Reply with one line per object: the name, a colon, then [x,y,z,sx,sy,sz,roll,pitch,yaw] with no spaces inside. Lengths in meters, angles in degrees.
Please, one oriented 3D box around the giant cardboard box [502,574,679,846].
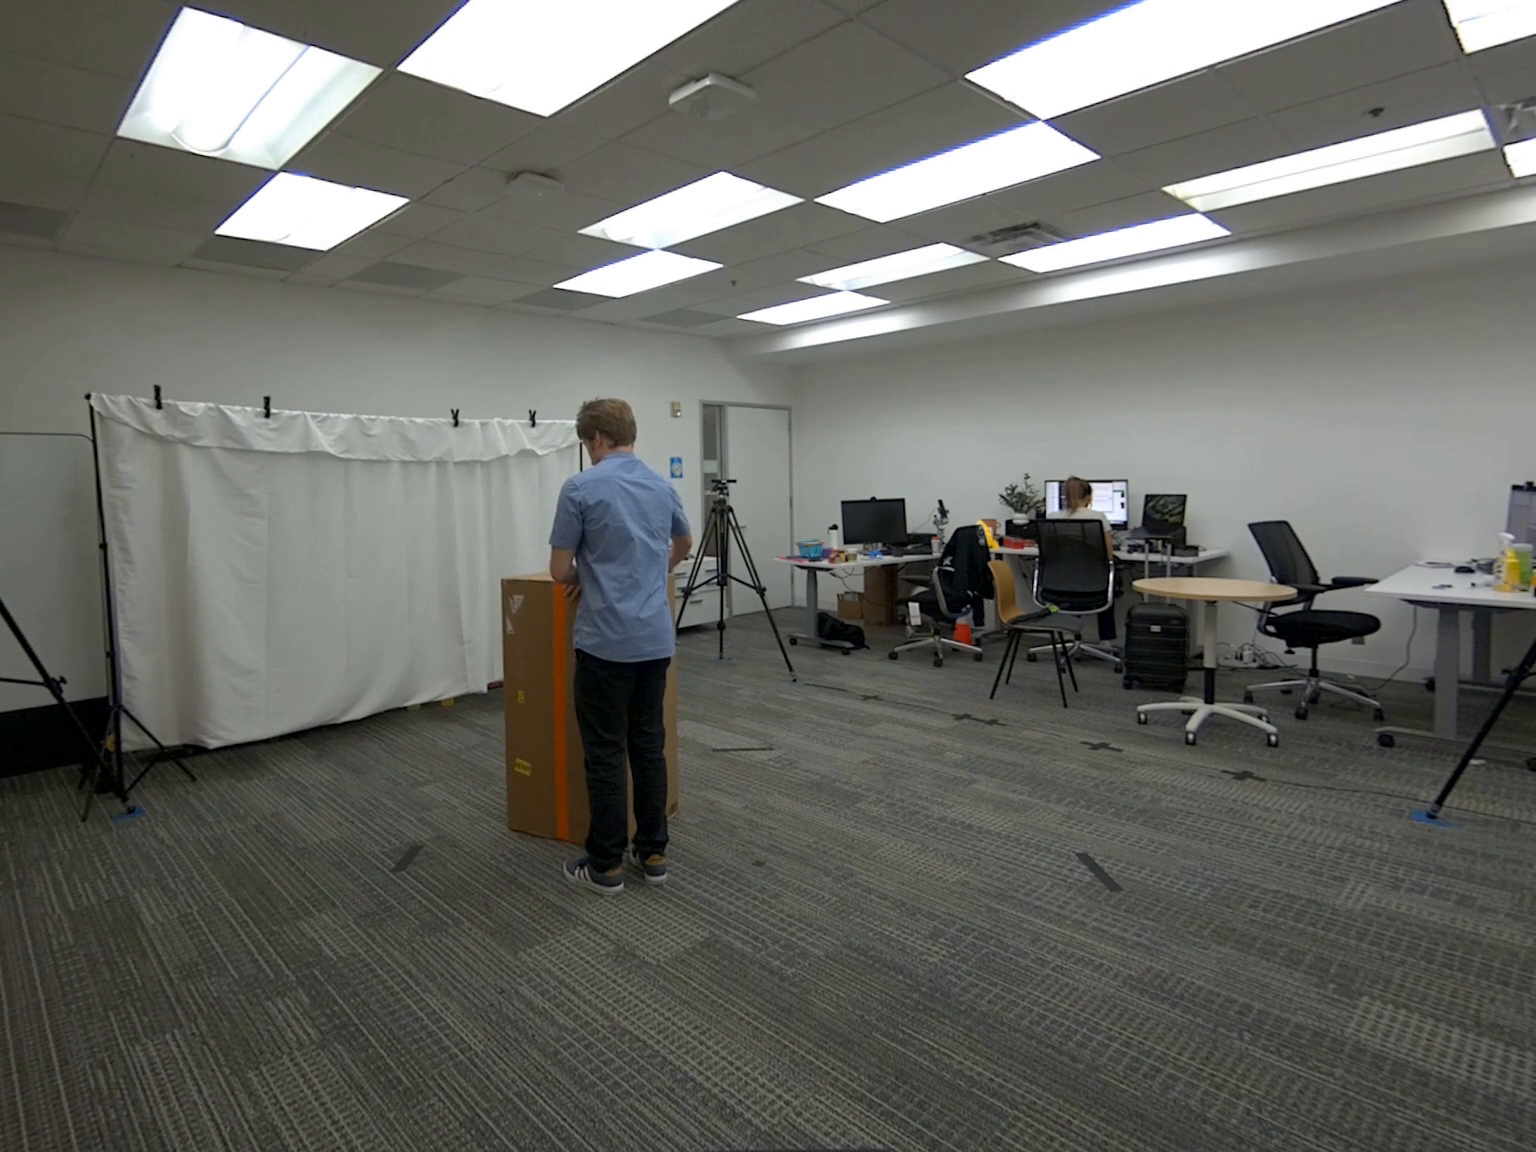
giant cardboard box: [-0.727,0.508,3.513,0.591,1.023,0.418,1,4,25]
